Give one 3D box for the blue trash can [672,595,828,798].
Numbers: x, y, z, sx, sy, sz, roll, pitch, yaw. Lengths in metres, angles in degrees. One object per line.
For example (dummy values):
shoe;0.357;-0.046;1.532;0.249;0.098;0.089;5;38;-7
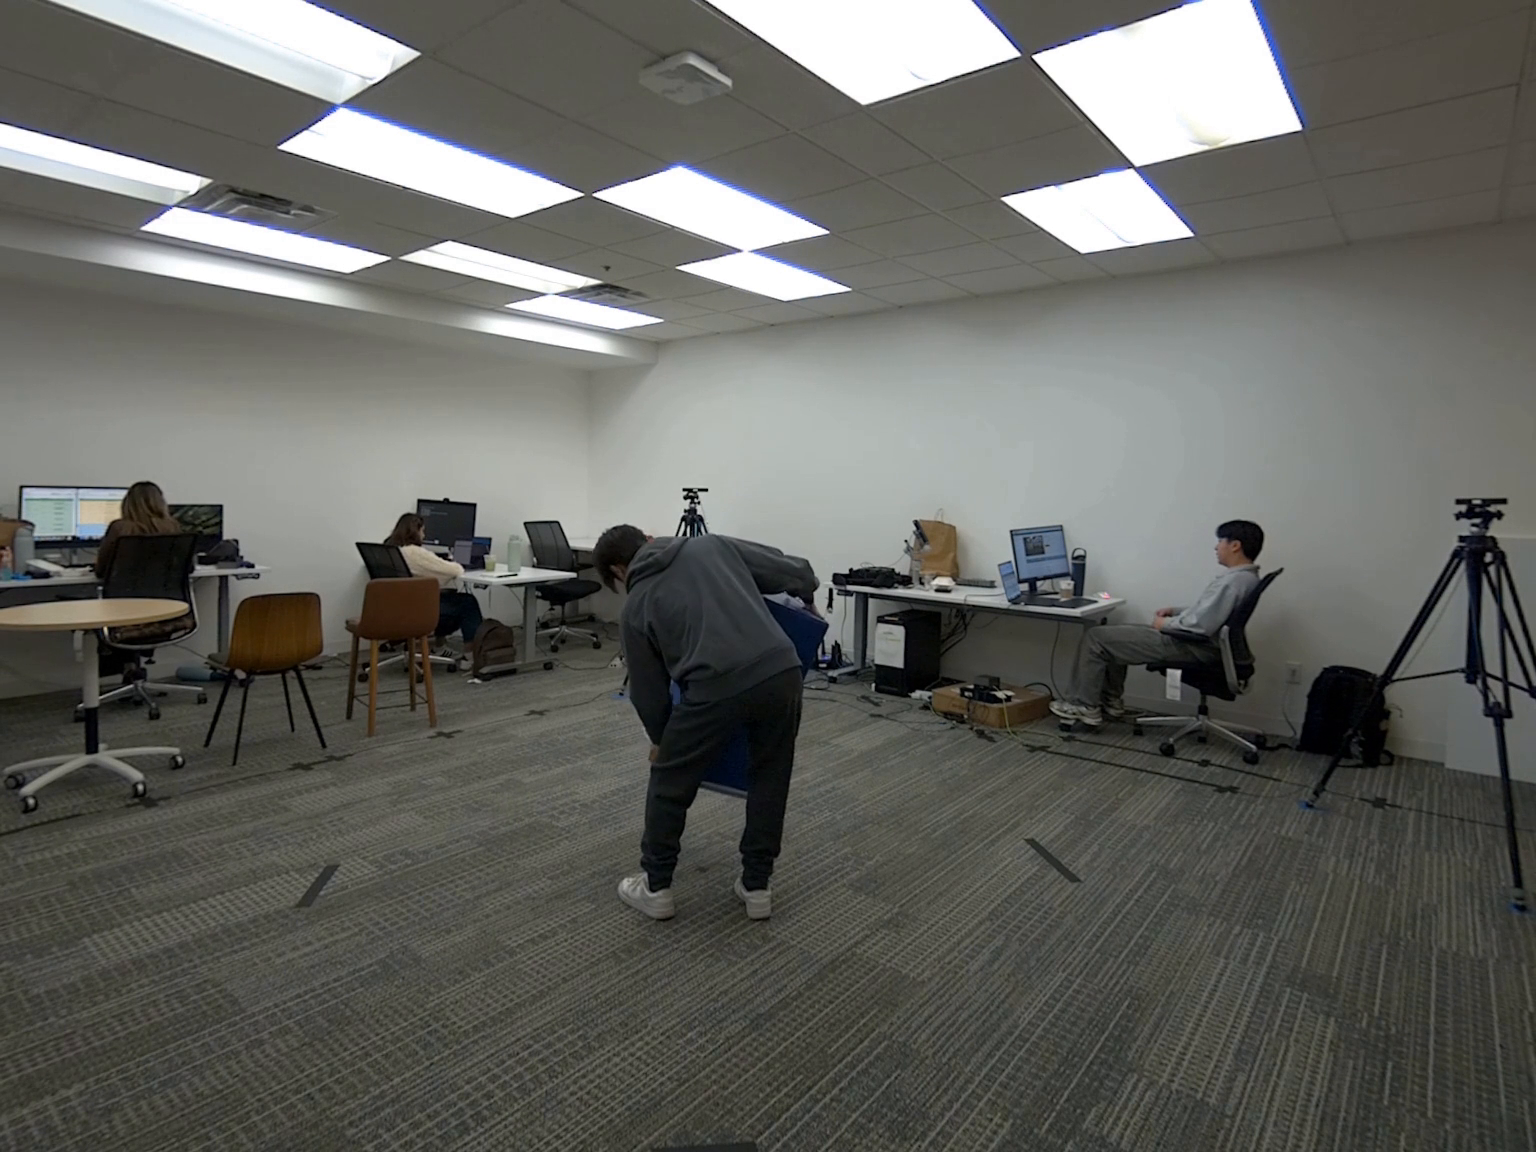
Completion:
blue trash can;-0.121;0.393;3.158;0.361;0.712;0.392;24;7;-31
